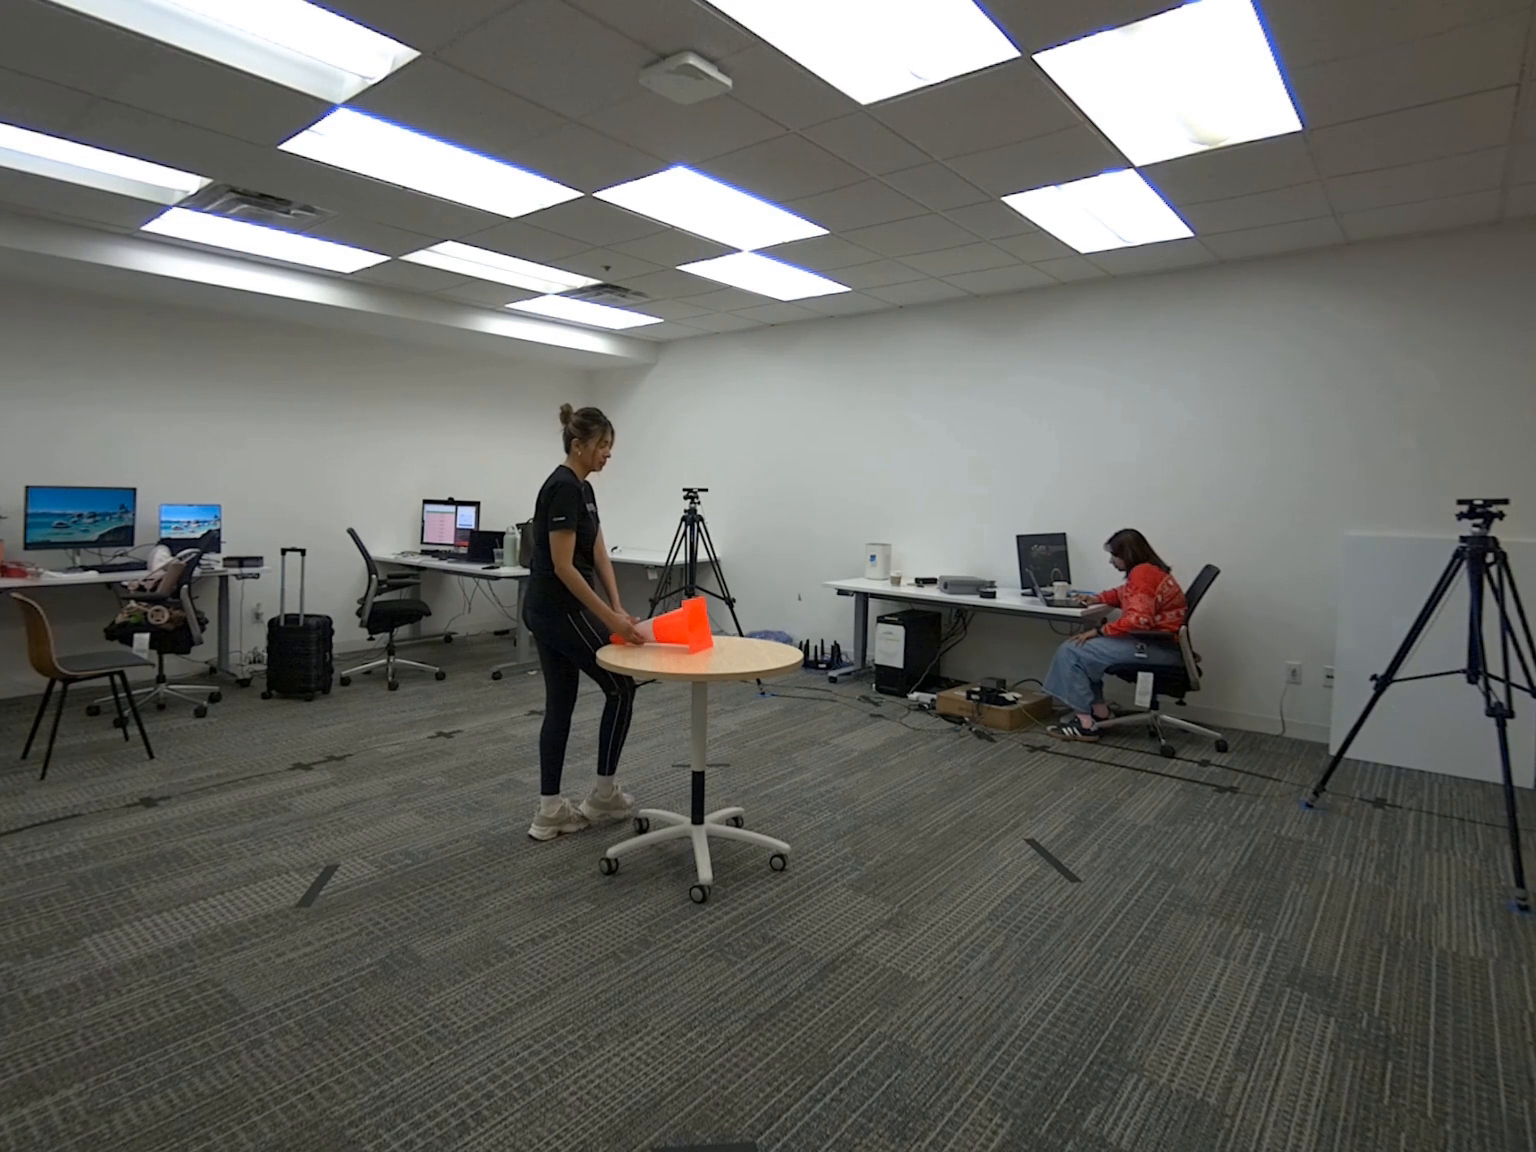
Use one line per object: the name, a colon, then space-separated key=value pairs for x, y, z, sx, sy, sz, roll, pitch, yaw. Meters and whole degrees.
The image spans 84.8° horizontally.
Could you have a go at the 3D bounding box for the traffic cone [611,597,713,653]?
traffic cone: x=-0.445 y=0.221 z=3.283 sx=0.391 sy=0.206 sz=0.198 roll=-13 pitch=-3 yaw=26
